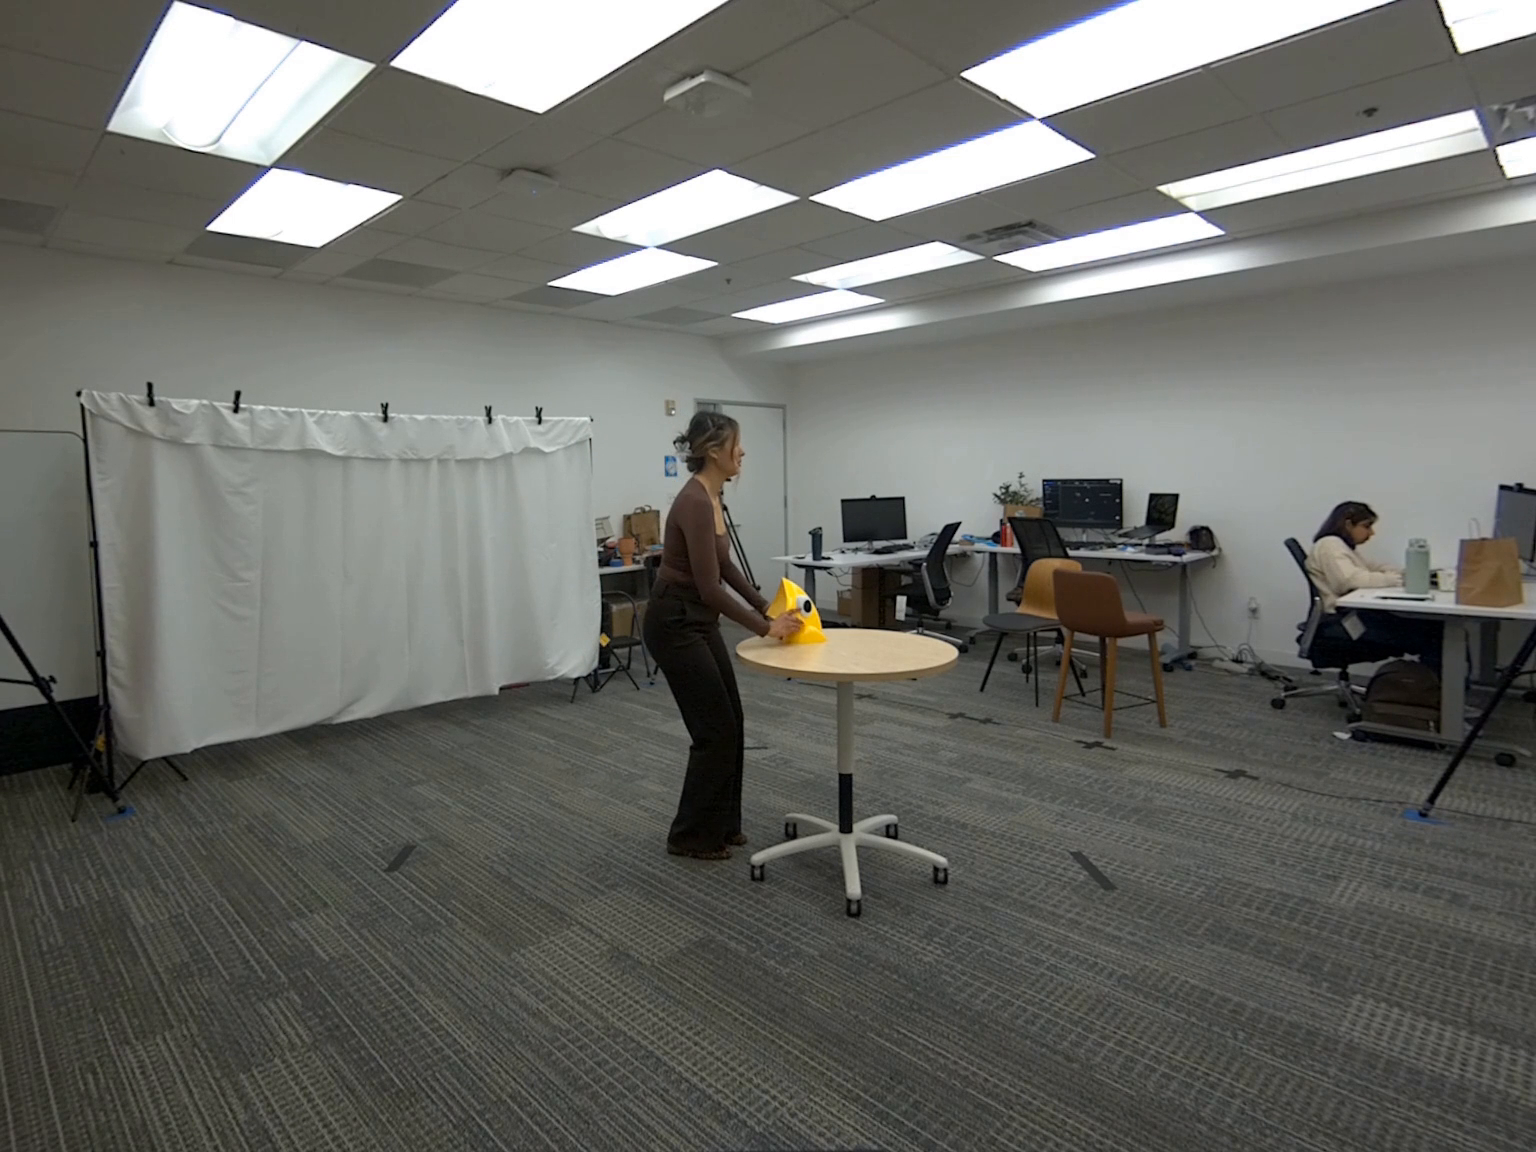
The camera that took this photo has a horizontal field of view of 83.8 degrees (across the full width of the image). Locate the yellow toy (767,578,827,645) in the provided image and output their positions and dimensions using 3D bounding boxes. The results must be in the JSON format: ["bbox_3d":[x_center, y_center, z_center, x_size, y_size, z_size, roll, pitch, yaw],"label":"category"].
[{"bbox_3d":[0.108,0.116,3.162,0.190,0.230,0.209,-1,5,-18],"label":"yellow toy"}]
